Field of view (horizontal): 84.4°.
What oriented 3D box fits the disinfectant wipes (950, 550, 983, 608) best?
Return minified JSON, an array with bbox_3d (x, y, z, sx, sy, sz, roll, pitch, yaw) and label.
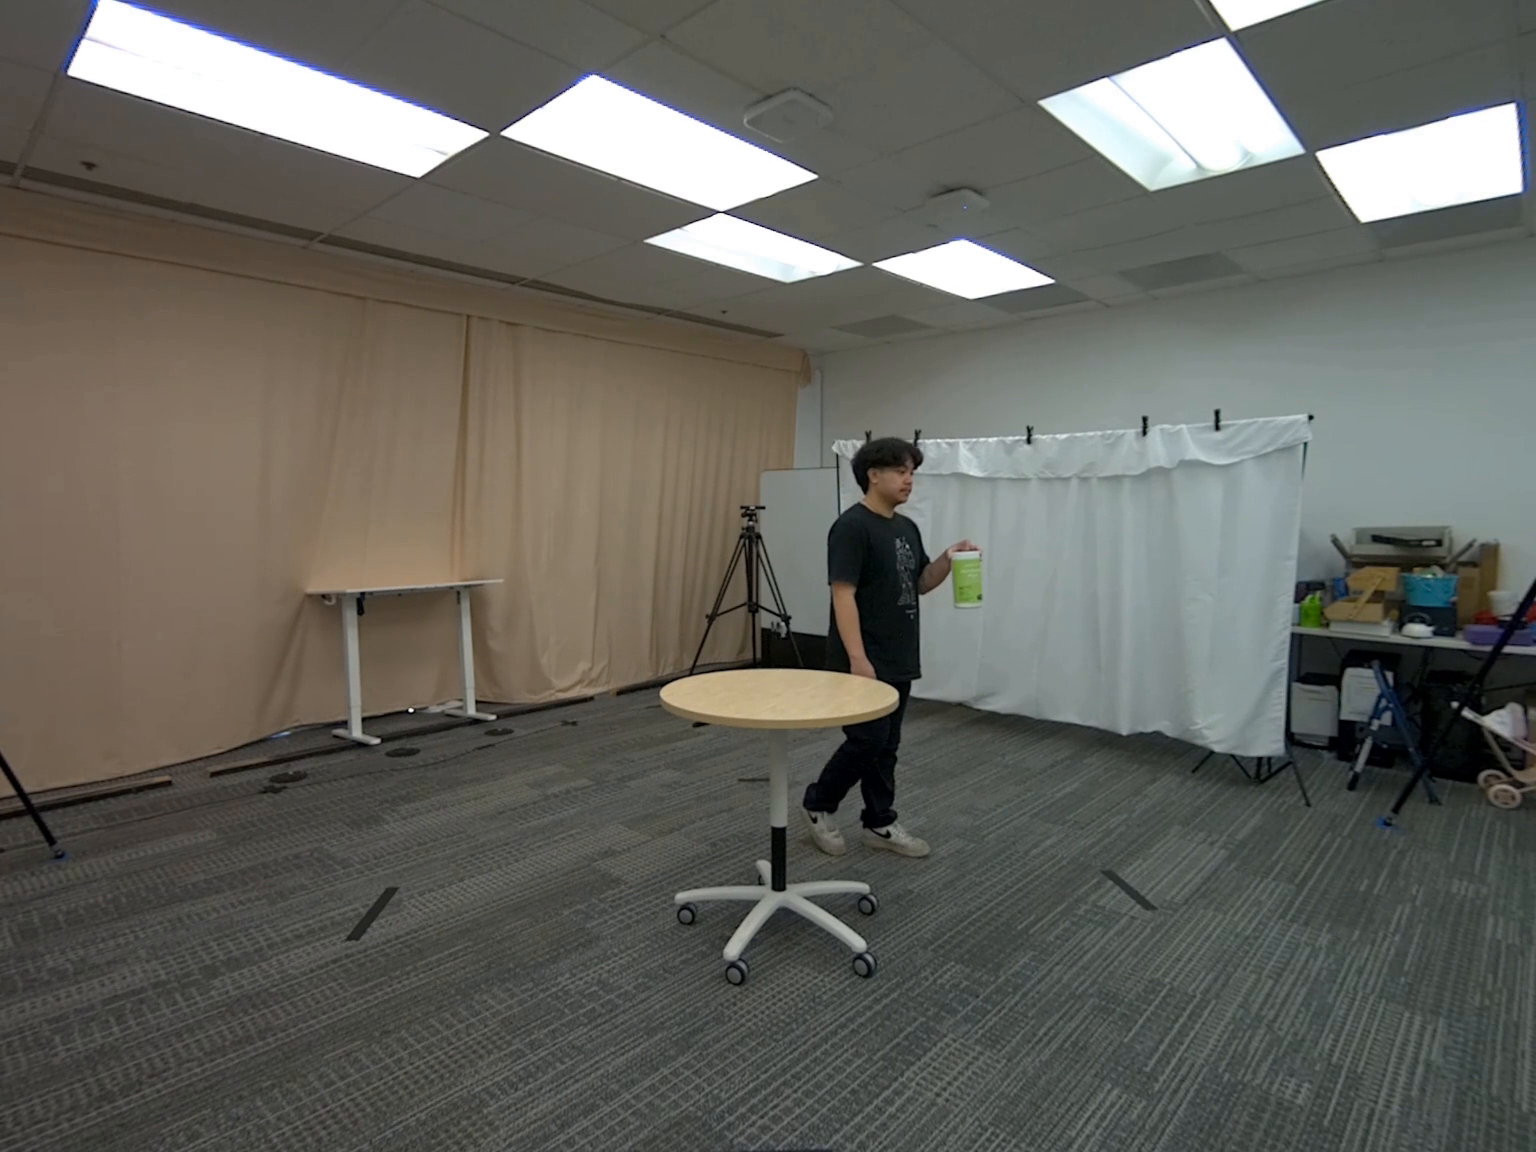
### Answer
[{"bbox_3d":[0.759,0.015,3.231,0.118,0.217,0.118,-4,2,-2],"label":"disinfectant wipes"}]
